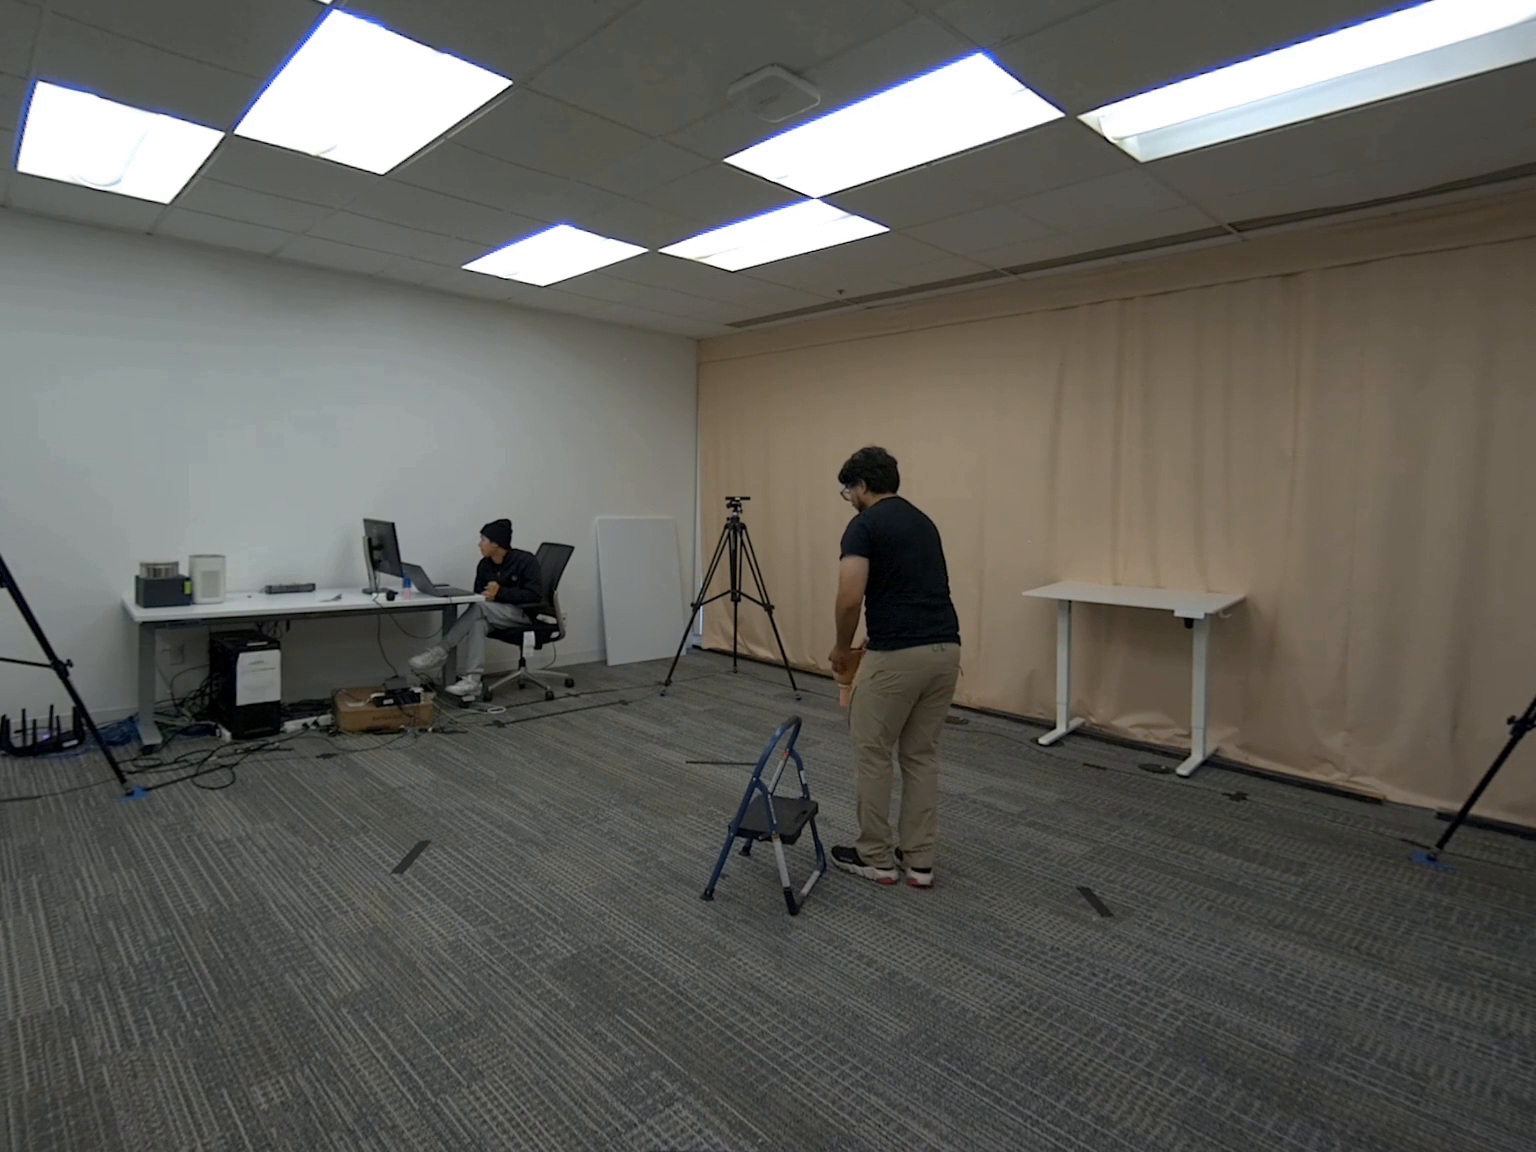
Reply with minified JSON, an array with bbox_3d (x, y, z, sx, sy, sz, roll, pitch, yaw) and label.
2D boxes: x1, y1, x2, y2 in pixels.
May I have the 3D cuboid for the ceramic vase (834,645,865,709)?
[{"bbox_3d":[0.327,0.400,3.312,0.157,0.220,0.136,-3,1,-14],"label":"ceramic vase"}]
